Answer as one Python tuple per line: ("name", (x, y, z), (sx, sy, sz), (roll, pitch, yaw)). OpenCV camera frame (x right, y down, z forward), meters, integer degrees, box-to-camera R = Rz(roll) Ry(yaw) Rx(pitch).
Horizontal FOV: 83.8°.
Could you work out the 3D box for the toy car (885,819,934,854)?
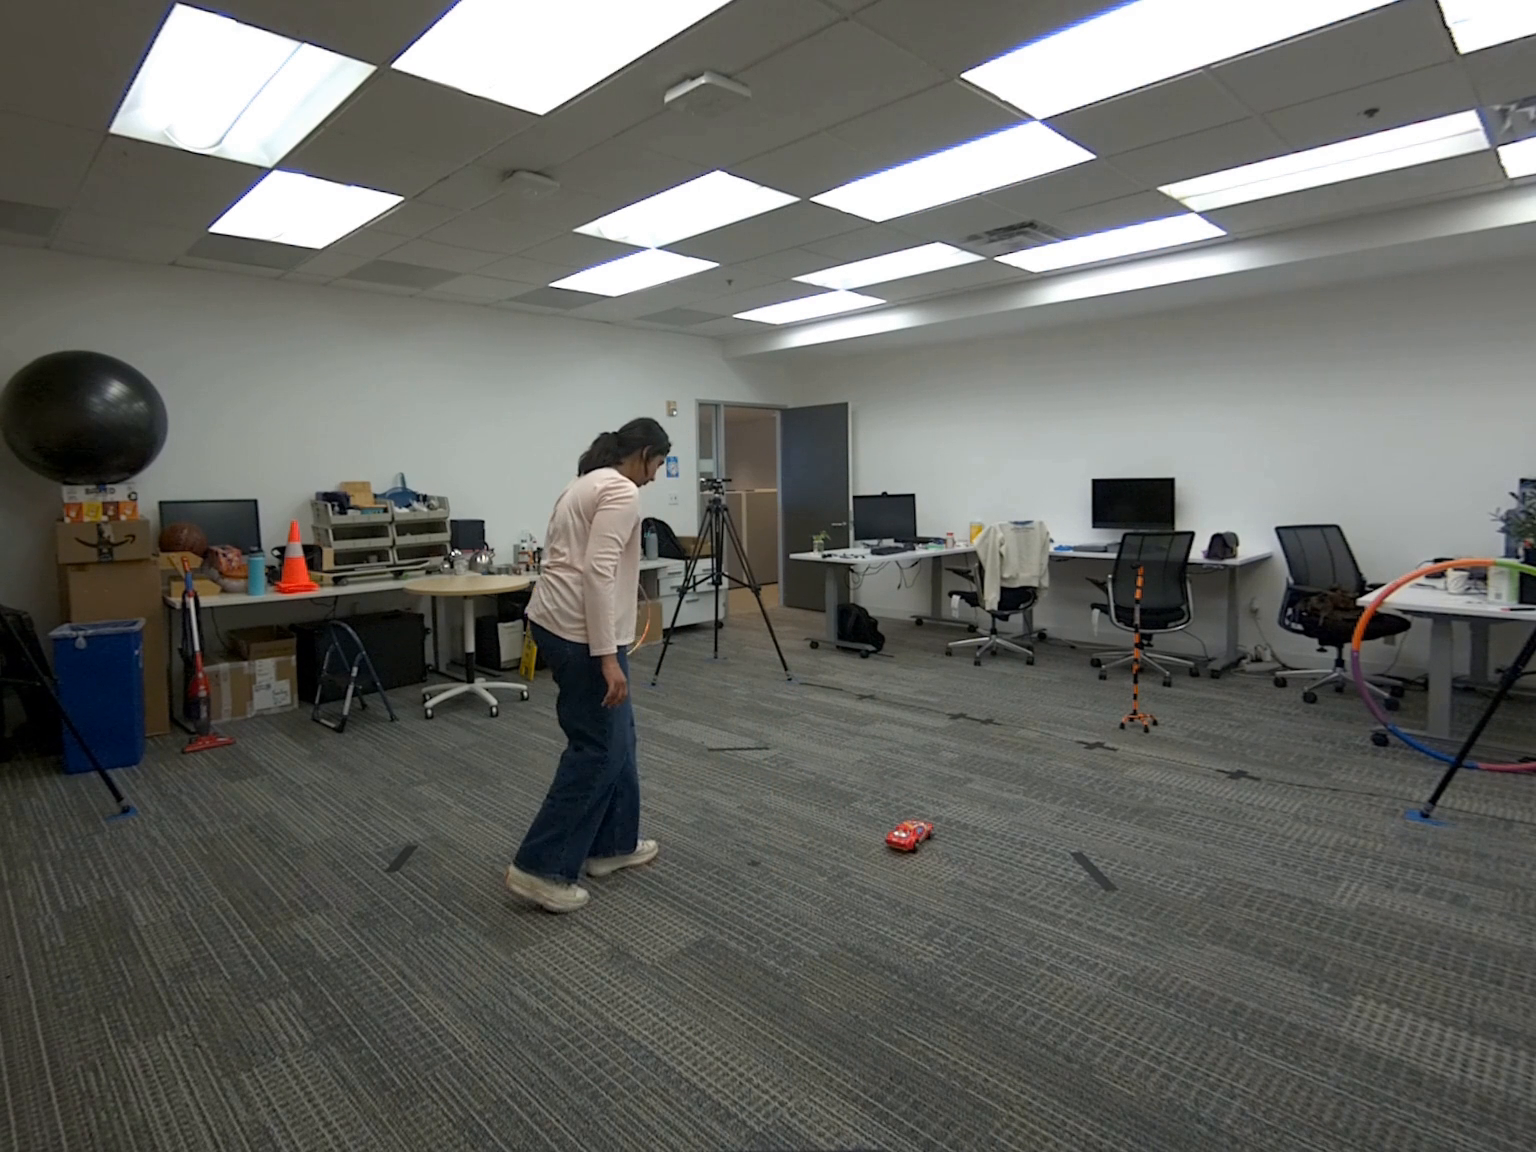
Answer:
("toy car", (0.539, 0.988, 3.244), (0.134, 0.083, 0.246), (3, -4, 36))
